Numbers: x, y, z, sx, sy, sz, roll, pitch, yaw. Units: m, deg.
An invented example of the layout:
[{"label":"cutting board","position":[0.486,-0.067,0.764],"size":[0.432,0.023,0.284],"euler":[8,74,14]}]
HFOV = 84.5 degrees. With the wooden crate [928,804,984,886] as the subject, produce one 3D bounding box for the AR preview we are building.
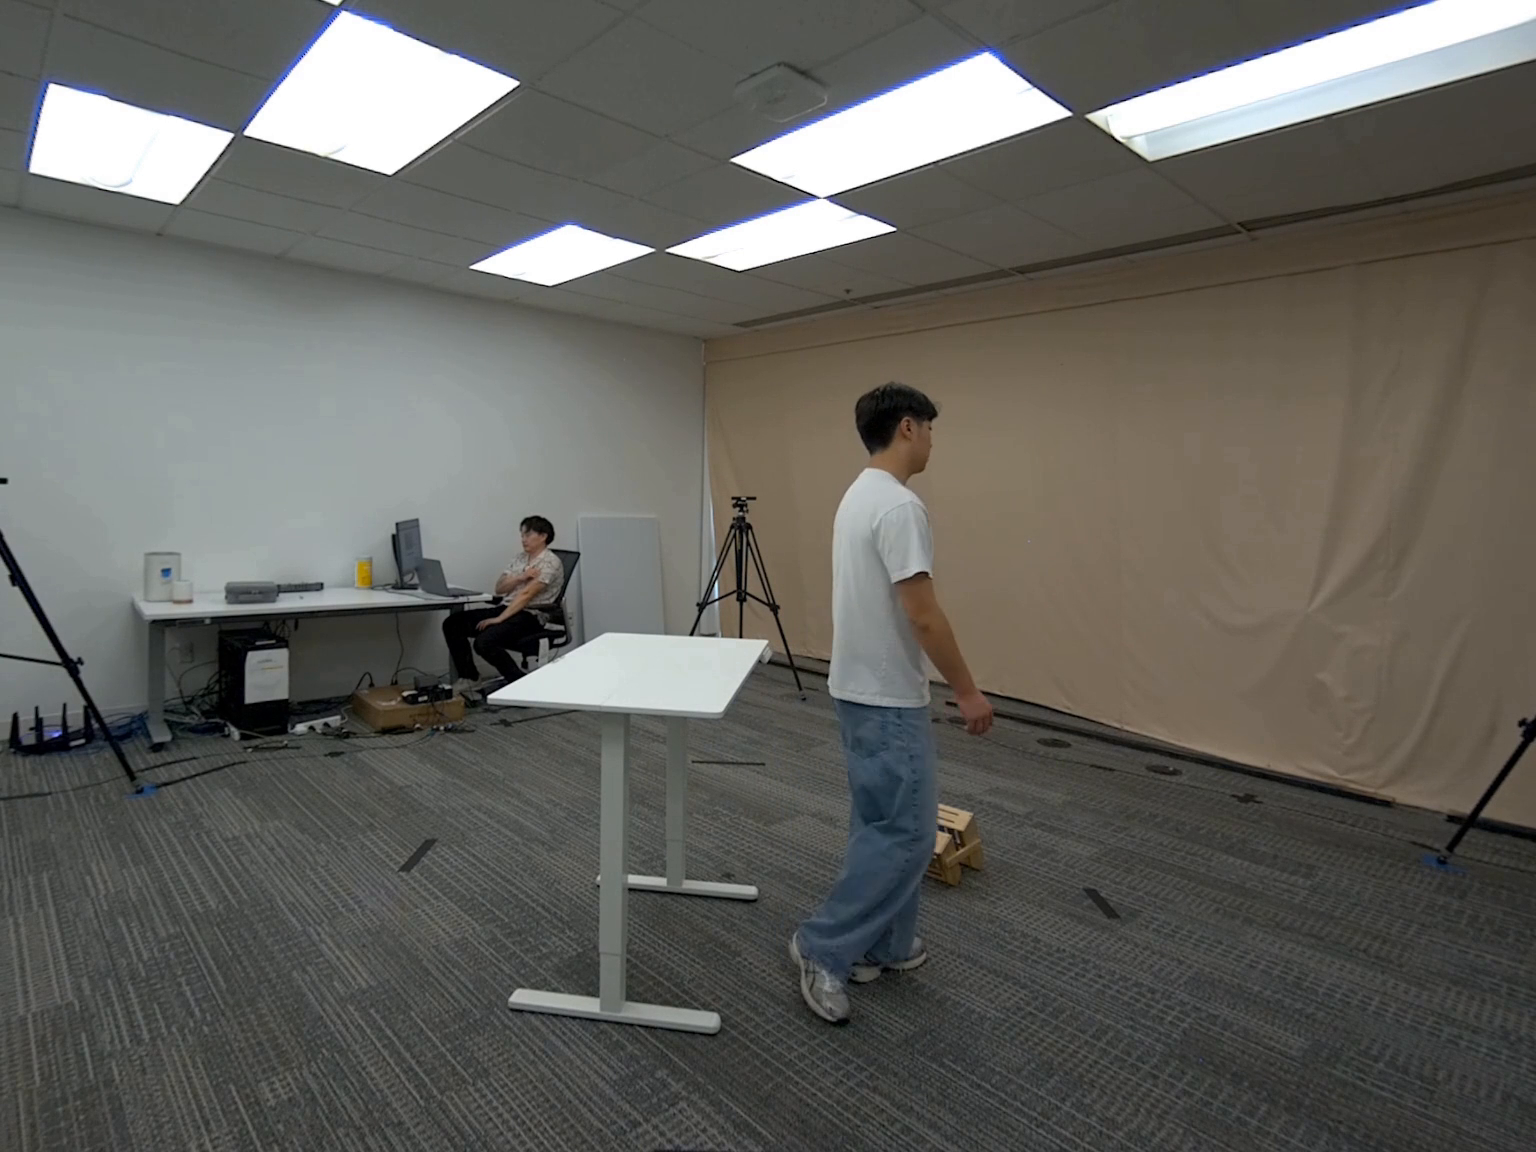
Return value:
[{"label":"wooden crate","position":[0.597,1.030,3.193],"size":[0.332,0.296,0.272],"euler":[5,33,40]}]
